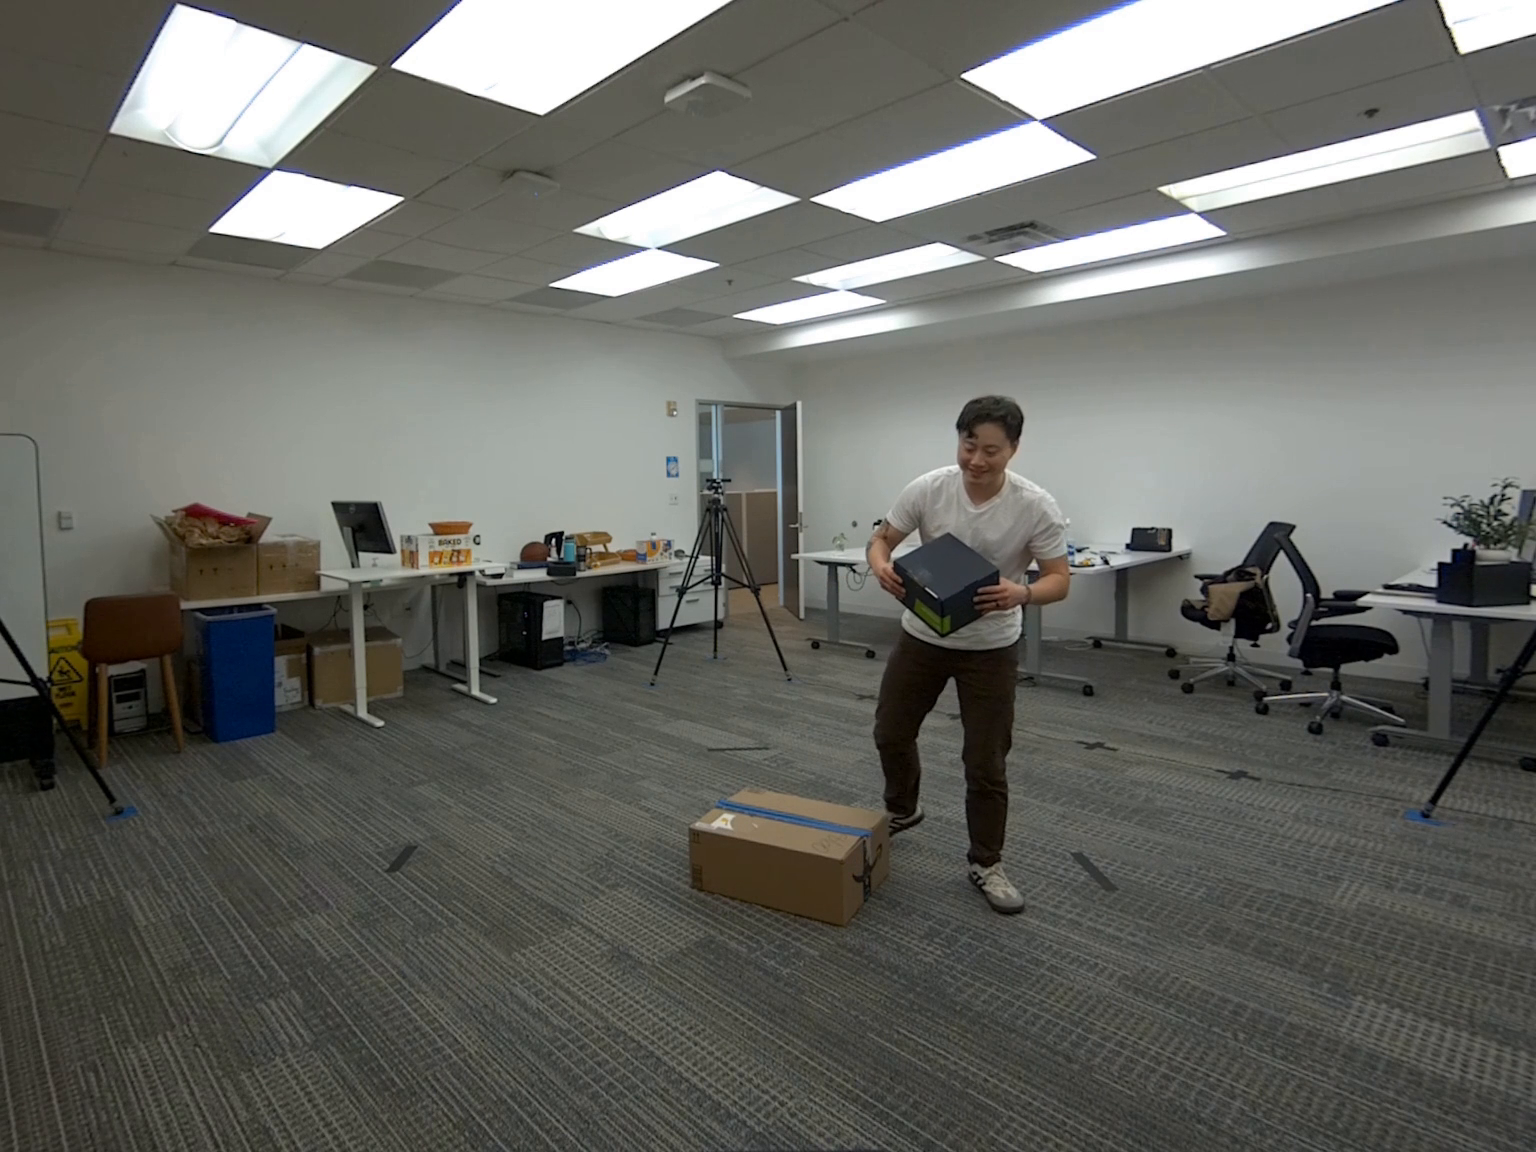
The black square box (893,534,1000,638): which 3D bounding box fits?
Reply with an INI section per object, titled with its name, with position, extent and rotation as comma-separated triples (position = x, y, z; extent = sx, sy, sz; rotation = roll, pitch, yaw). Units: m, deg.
[black square box]
position = 0.533, 0.026, 2.572
extent = 0.215, 0.151, 0.237
rotation = -26, 42, -17
